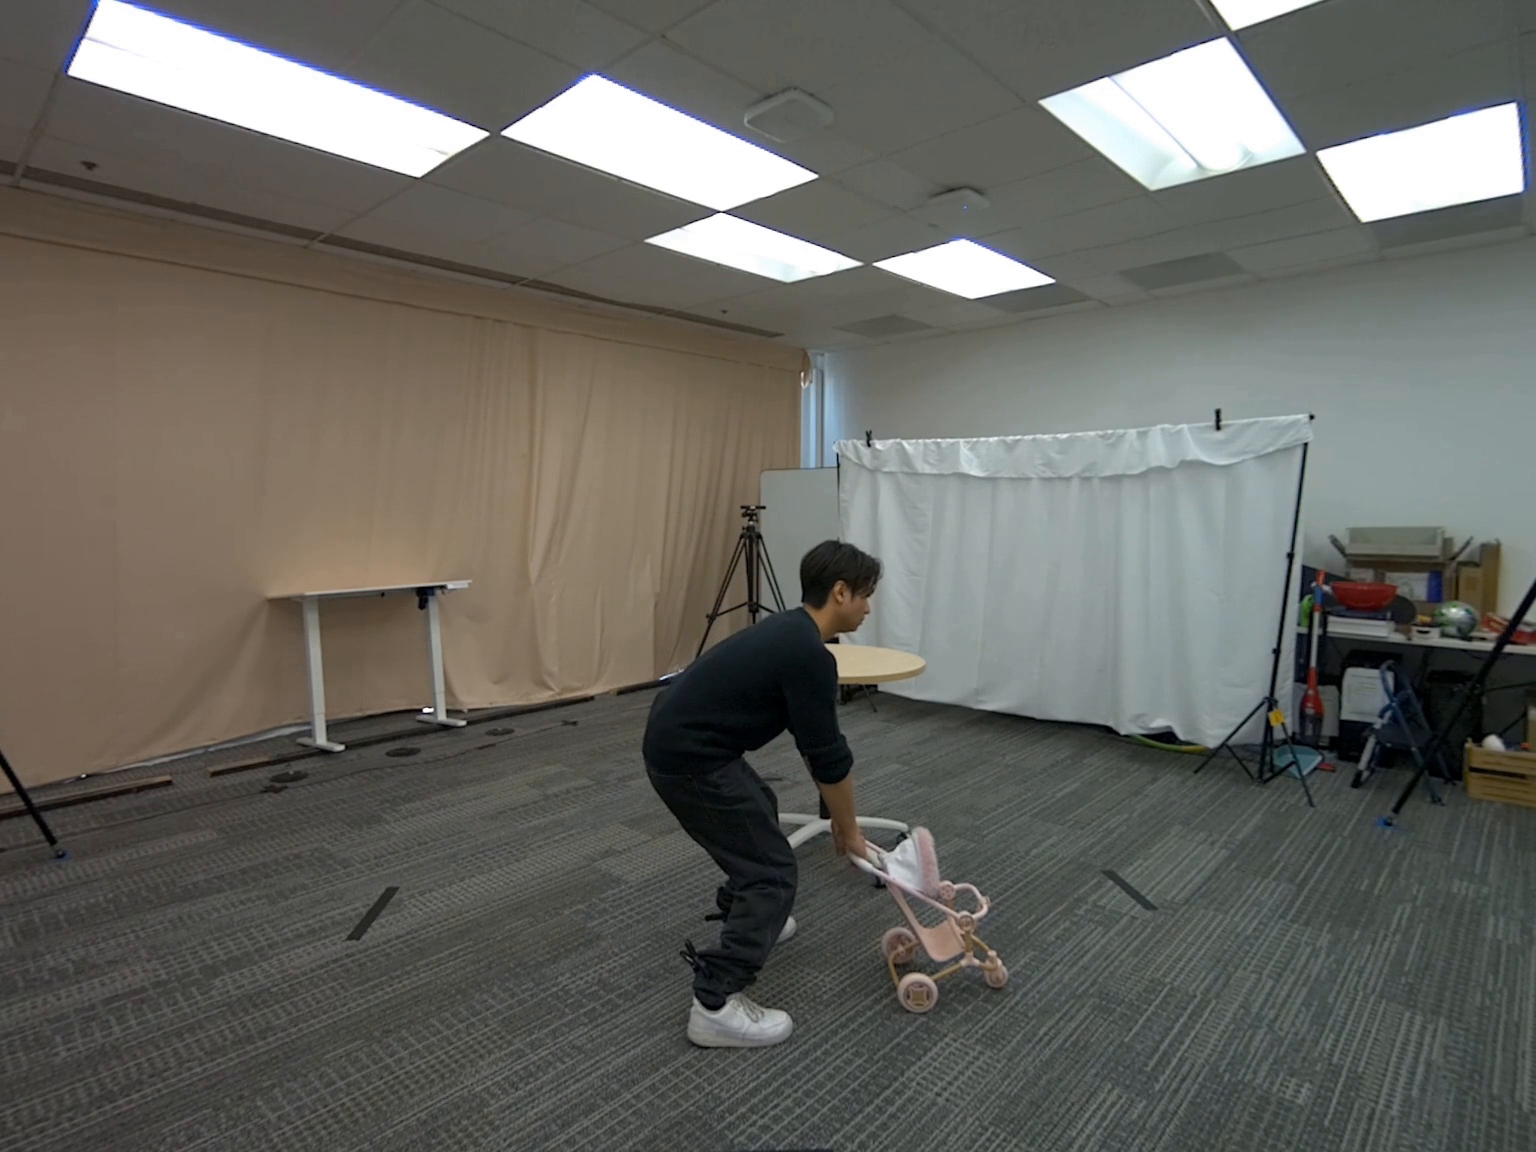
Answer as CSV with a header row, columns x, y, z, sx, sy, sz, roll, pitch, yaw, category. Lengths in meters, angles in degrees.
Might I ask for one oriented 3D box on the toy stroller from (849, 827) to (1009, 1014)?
x,y,z,sx,sy,sz,roll,pitch,yaw,category
0.477,0.972,2.415,0.343,0.534,0.281,-16,3,5,toy stroller
